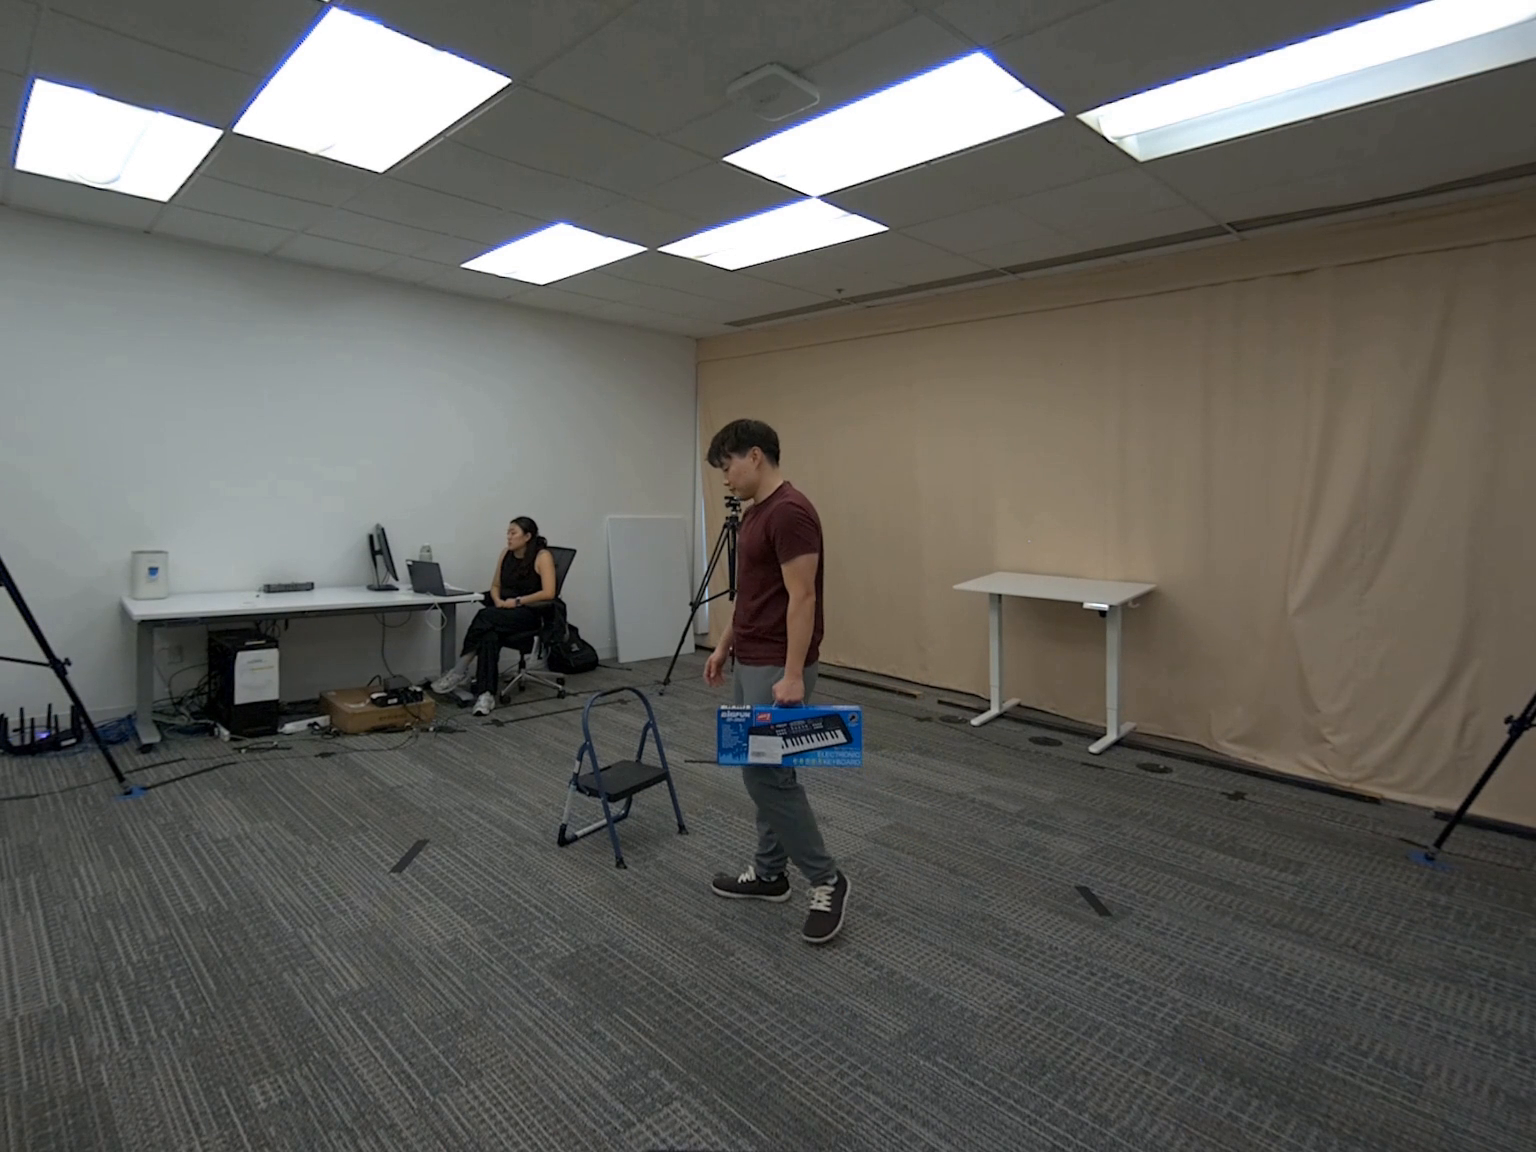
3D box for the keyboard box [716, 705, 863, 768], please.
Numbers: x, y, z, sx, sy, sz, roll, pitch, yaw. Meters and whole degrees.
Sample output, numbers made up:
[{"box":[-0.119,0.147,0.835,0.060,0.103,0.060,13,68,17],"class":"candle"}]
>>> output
[{"box":[0.057,0.483,2.563,0.438,0.176,0.059,1,0,3],"class":"keyboard box"}]
